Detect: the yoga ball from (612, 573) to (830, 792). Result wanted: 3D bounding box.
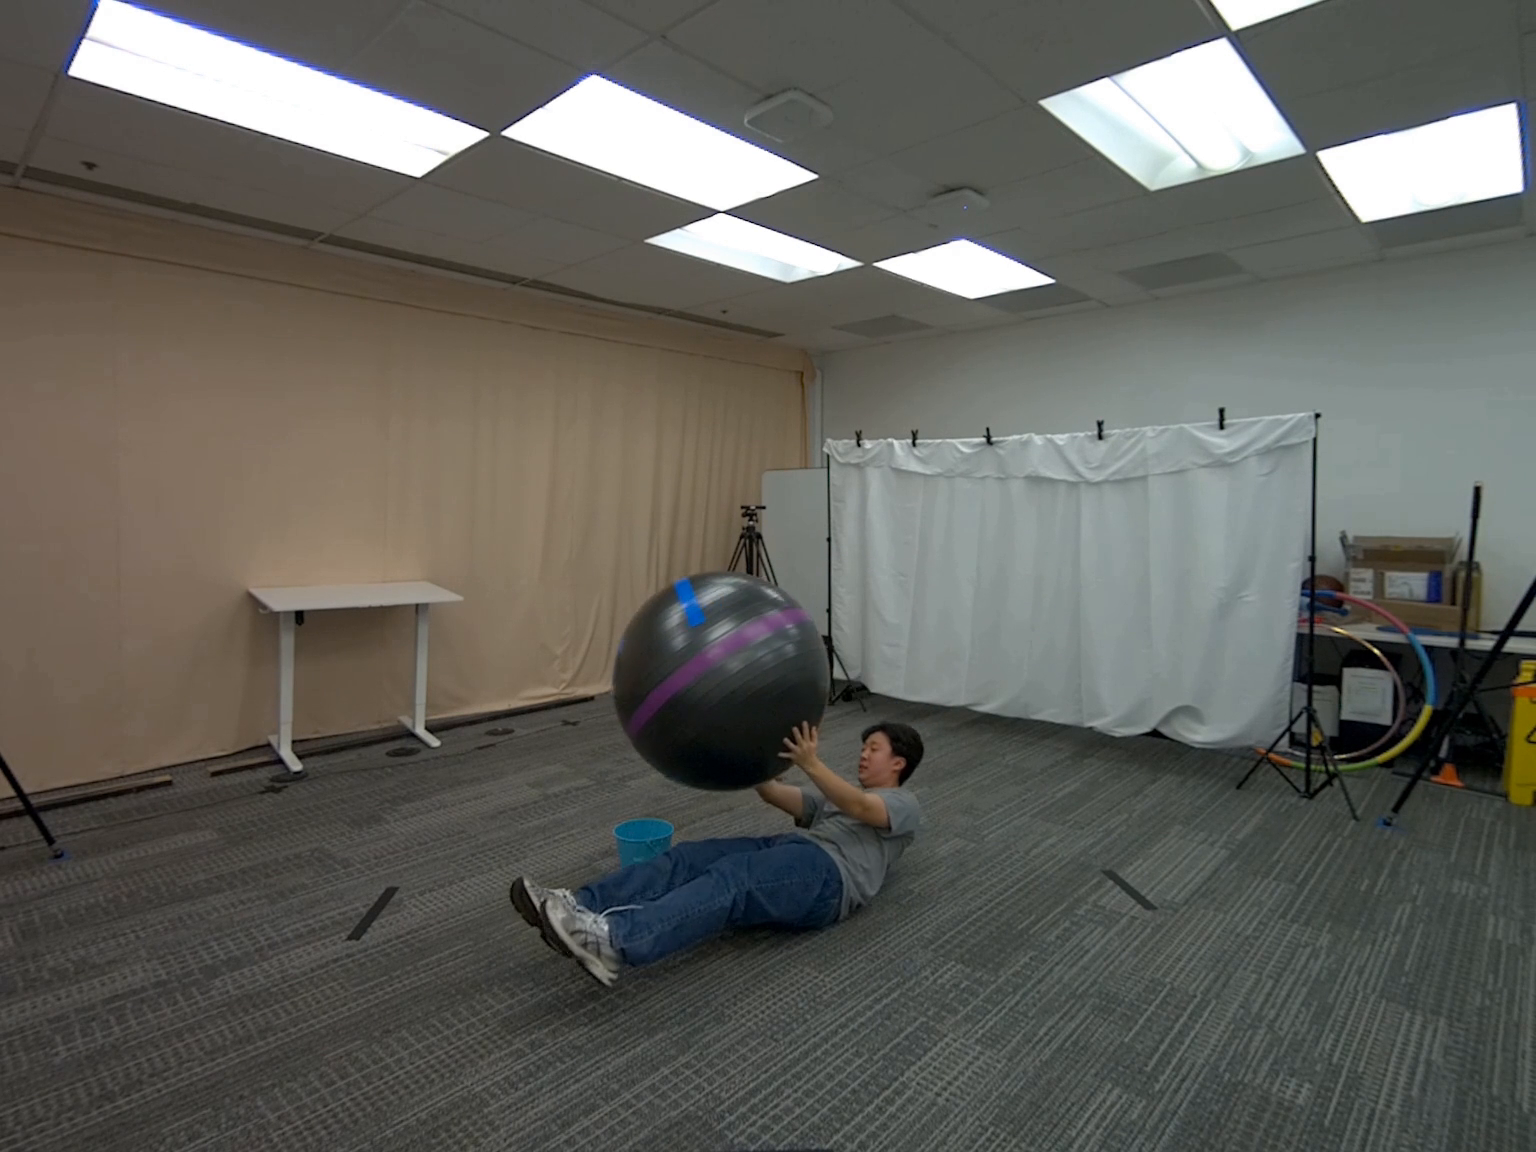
[{"bbox_3d":[-0.159,0.368,2.971,0.757,0.756,0.760,0,4,-2],"label":"yoga ball"}]
